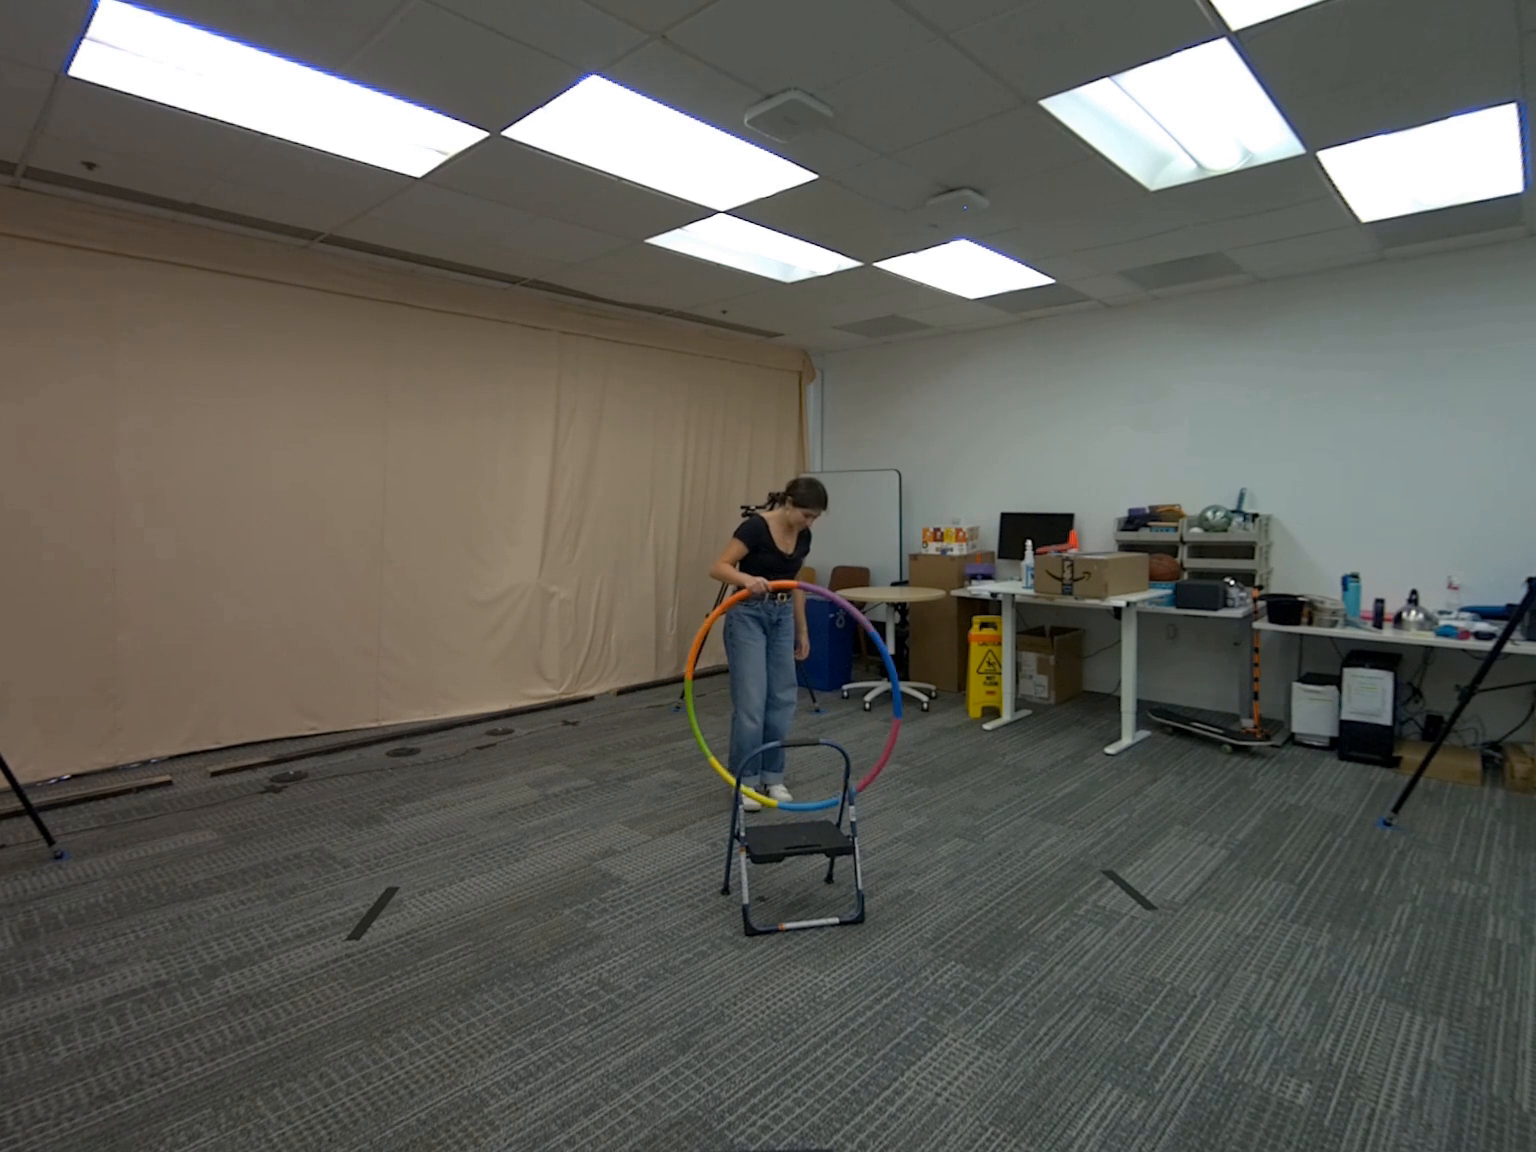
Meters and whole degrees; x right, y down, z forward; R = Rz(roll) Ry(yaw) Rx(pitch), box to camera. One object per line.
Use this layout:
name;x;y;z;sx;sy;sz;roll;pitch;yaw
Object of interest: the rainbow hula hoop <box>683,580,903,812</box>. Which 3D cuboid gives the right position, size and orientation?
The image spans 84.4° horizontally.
rainbow hula hoop;0.092;0.516;3.637;1.000;0.977;0.035;1;2;21
